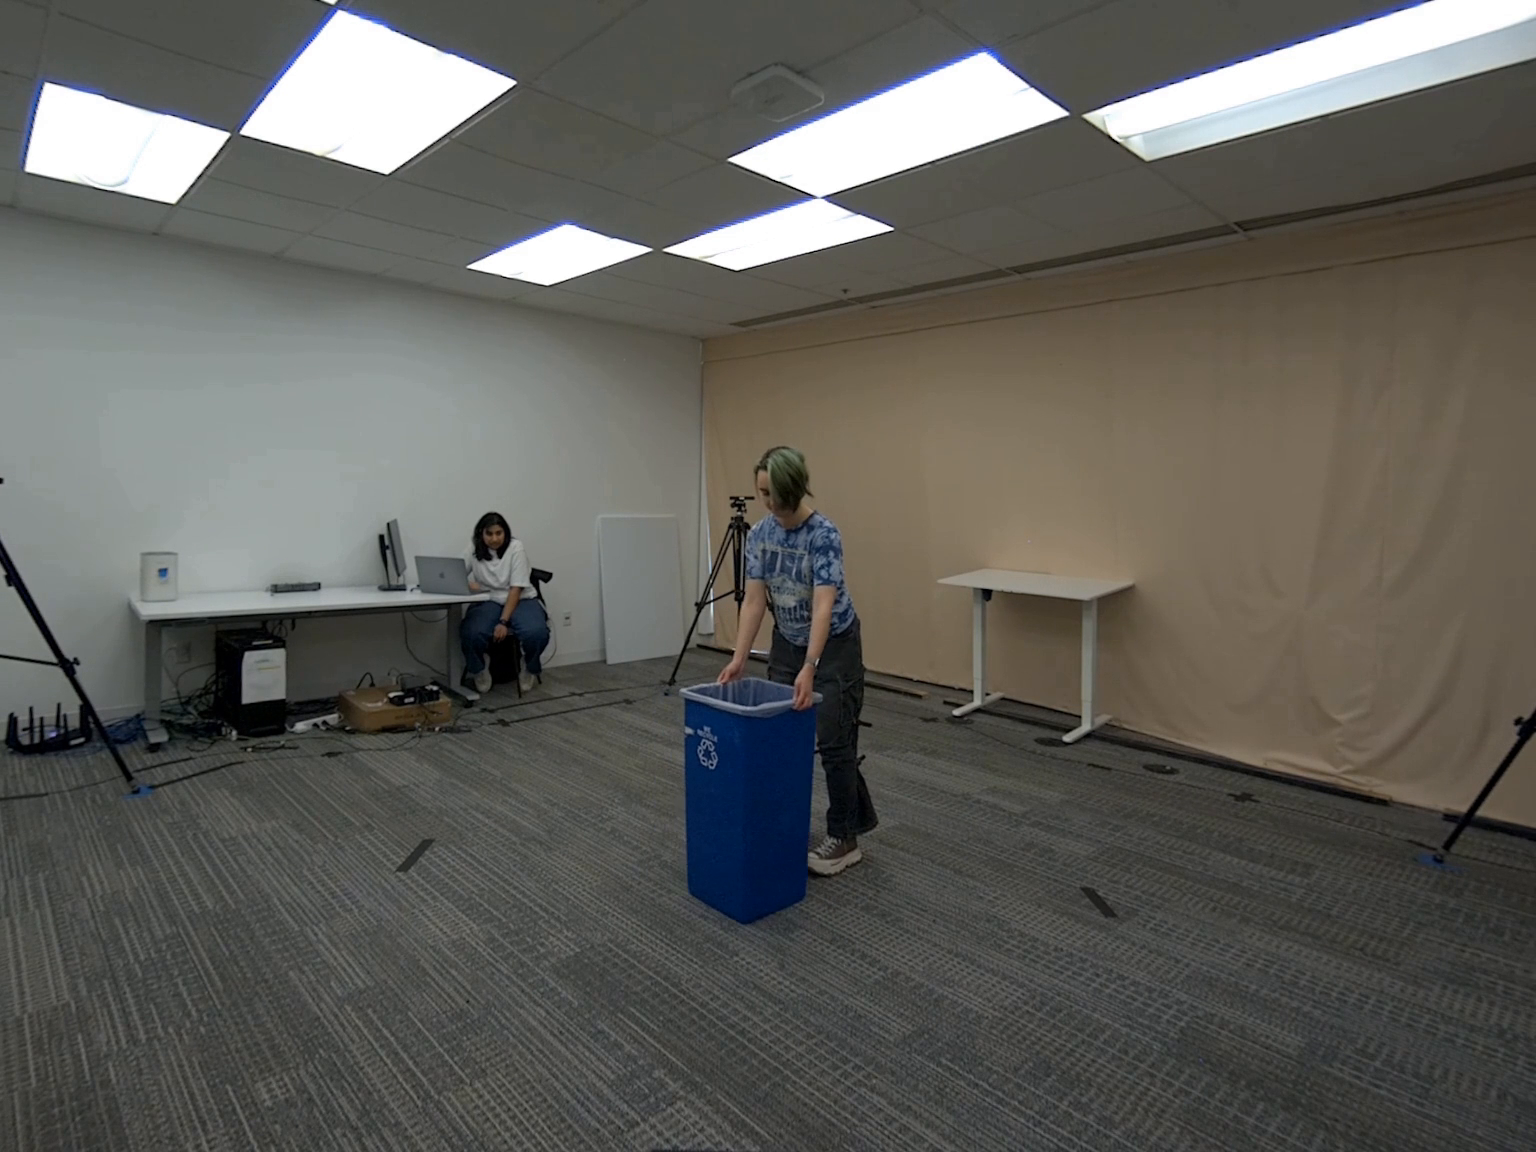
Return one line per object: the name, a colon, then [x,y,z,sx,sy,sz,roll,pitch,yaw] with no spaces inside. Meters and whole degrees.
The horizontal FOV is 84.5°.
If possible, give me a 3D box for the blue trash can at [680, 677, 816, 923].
blue trash can: [-0.068,0.758,2.918,0.369,0.712,0.383,-2,4,-43]
